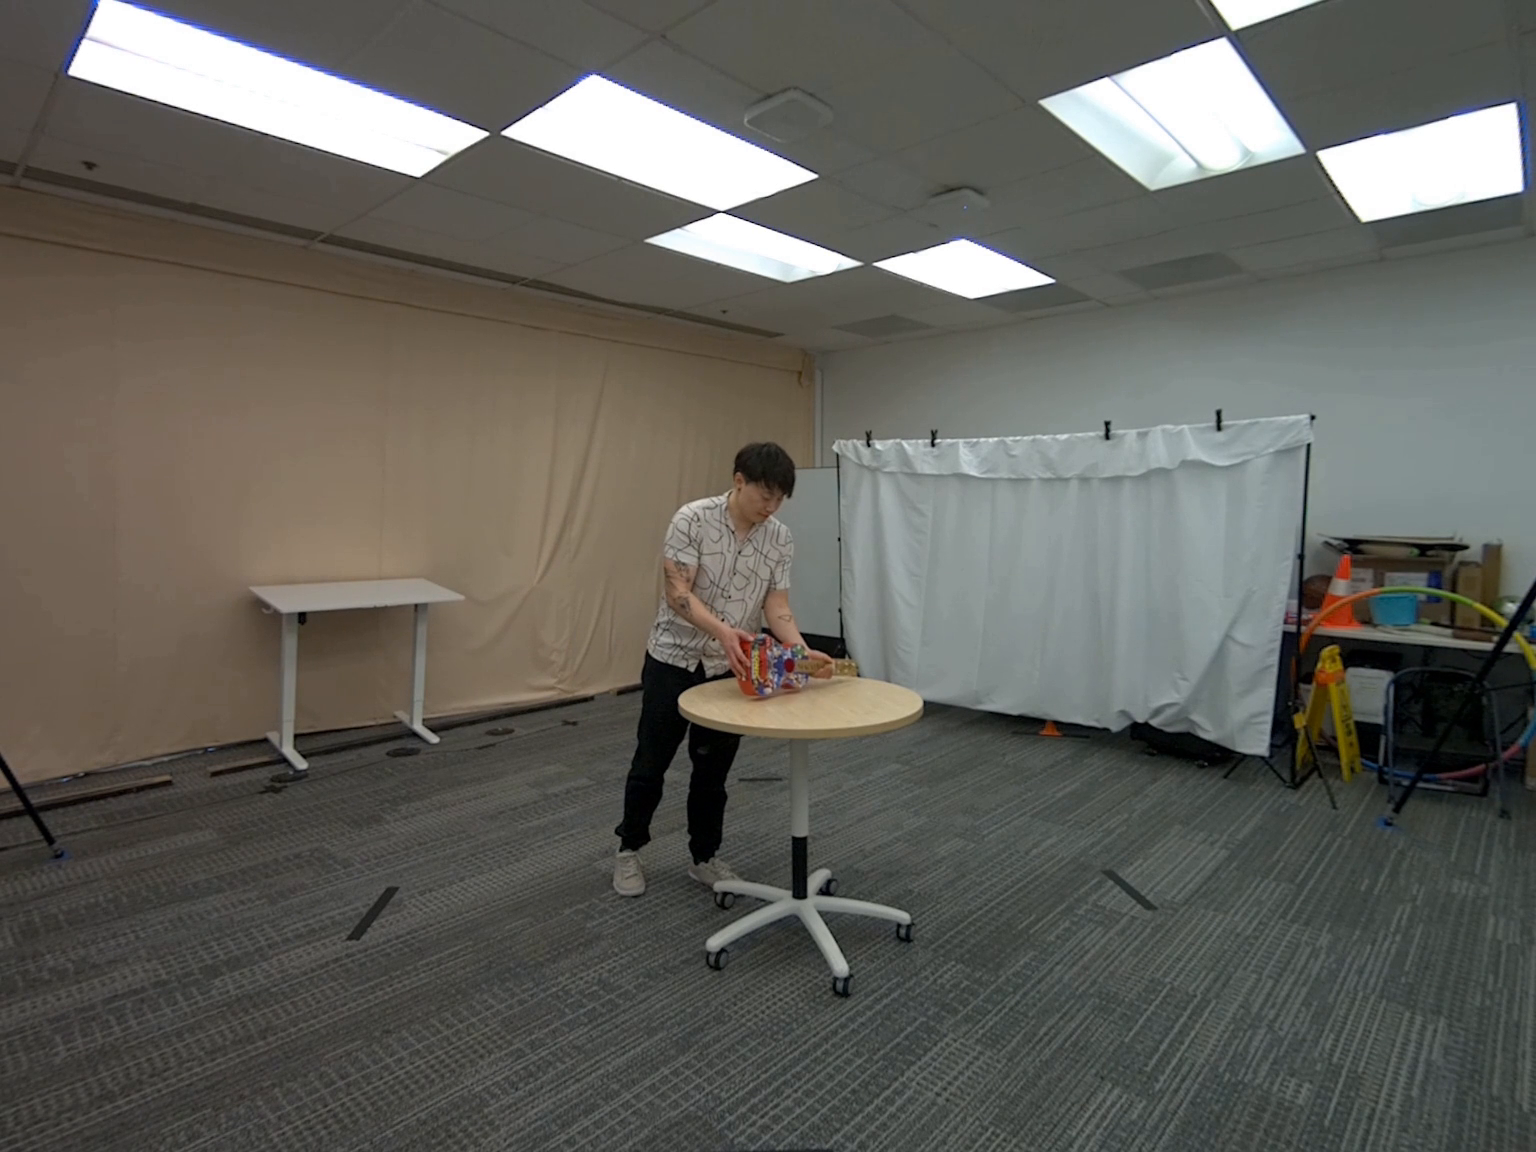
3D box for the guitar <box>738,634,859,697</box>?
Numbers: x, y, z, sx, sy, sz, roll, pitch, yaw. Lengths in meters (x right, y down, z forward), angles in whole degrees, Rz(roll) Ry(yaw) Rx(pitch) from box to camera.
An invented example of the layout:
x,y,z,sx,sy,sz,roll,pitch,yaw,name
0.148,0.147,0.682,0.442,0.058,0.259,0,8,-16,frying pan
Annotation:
x,y,z,sx,sy,sz,roll,pitch,yaw,name
0.105,0.322,2.759,0.481,0.195,0.072,18,-21,-36,guitar
